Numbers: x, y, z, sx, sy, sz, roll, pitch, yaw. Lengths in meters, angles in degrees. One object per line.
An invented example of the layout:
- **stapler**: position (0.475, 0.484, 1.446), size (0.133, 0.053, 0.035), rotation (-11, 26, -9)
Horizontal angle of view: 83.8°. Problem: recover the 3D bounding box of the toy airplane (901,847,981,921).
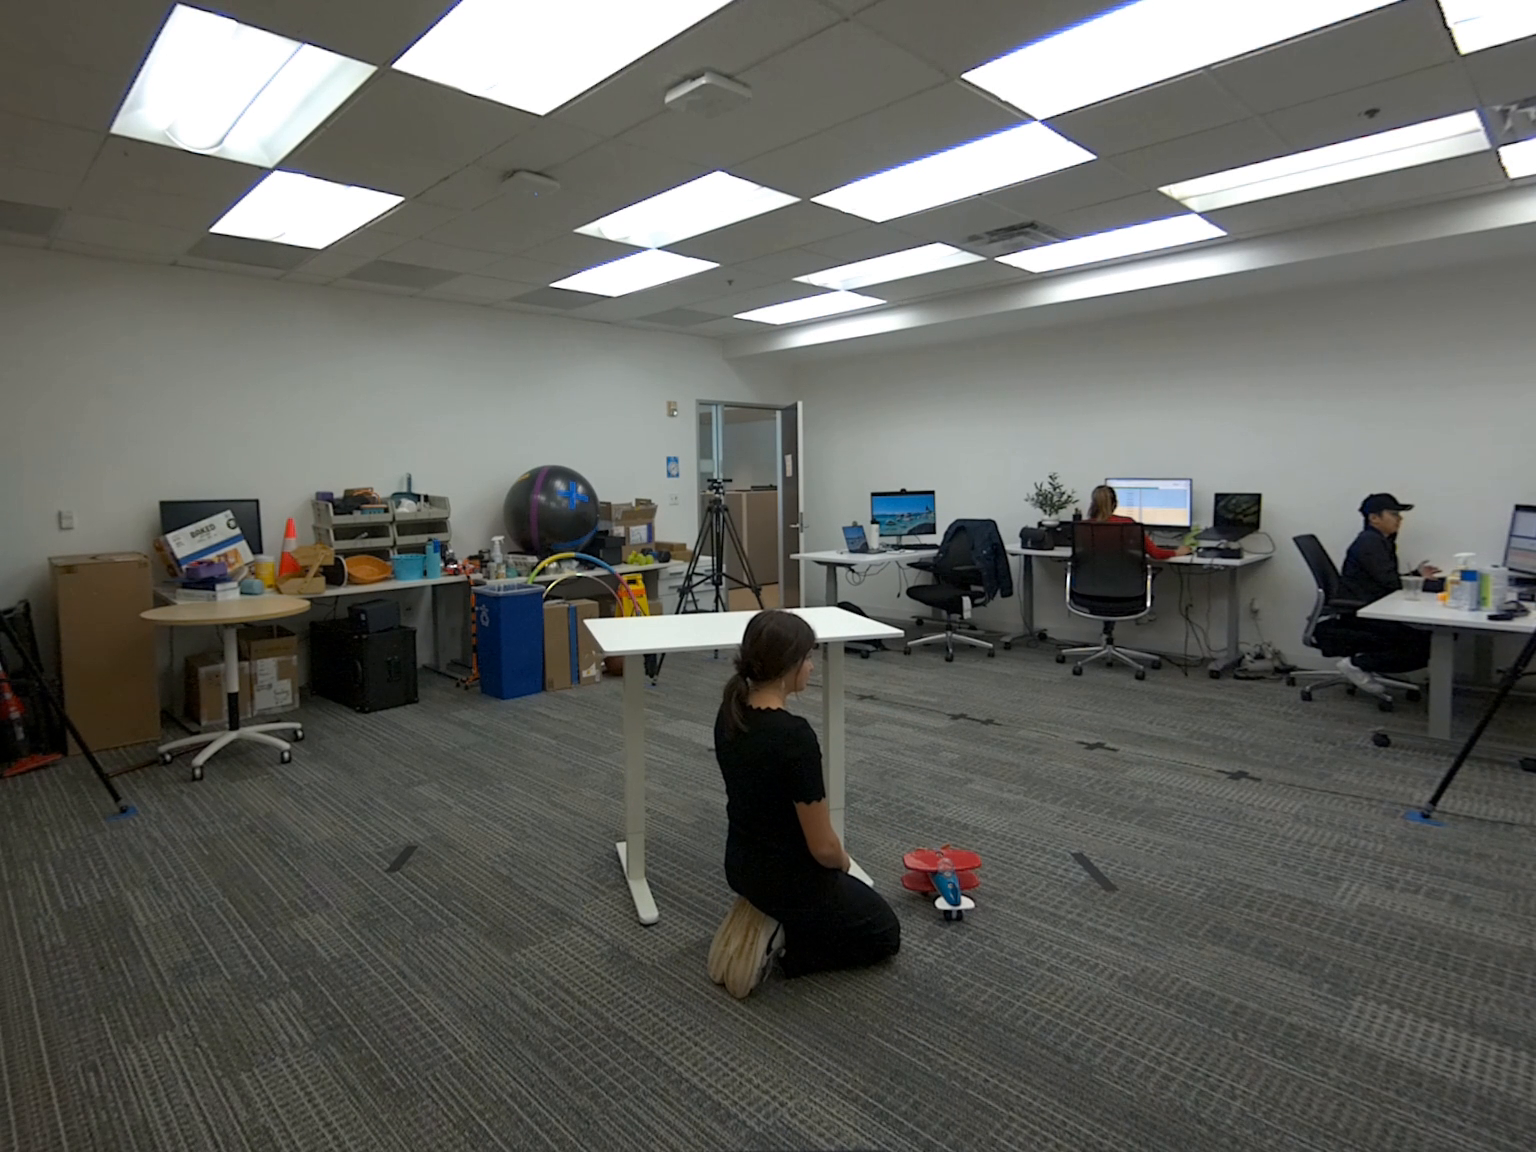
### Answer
- **toy airplane**: position (0.596, 0.996, 2.778), size (0.245, 0.156, 0.266), rotation (-4, 6, -32)
